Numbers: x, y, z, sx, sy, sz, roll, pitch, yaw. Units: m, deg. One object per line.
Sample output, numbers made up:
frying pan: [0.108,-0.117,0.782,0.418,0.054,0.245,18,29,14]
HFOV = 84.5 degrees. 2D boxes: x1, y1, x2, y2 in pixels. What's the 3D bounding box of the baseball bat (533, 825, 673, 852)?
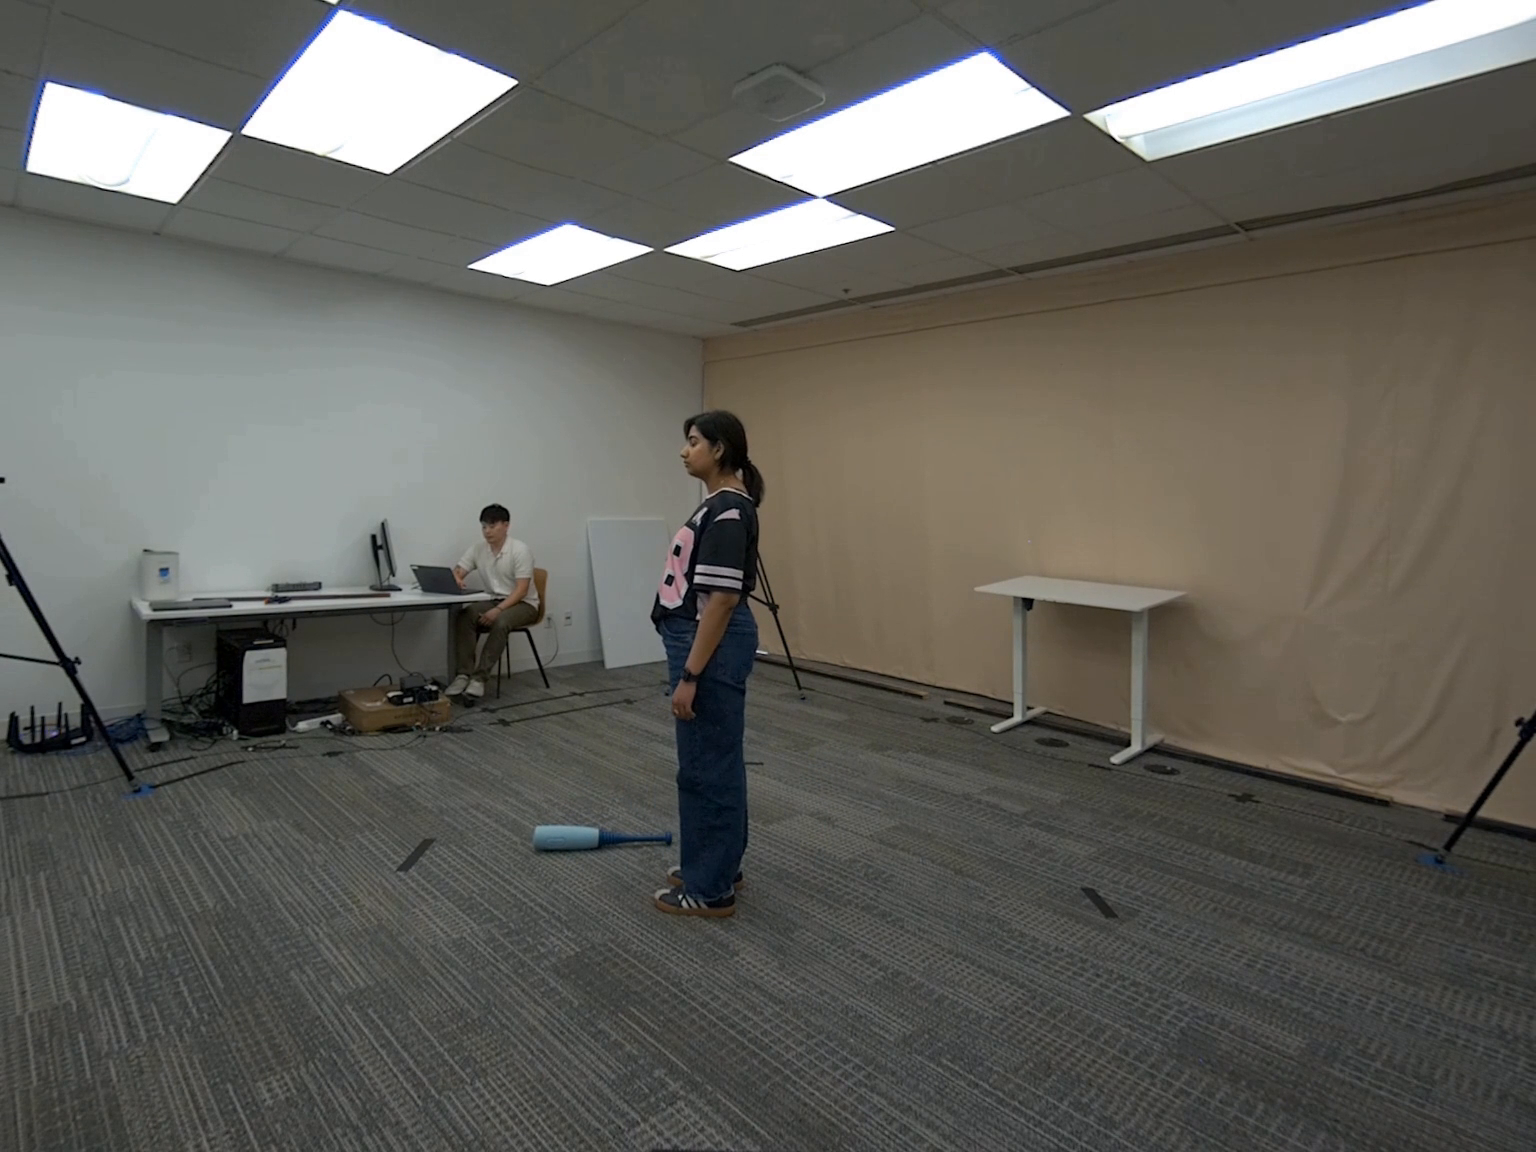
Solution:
baseball bat: [-0.658,1.039,3.322,0.538,0.089,0.090,4,4,-9]
